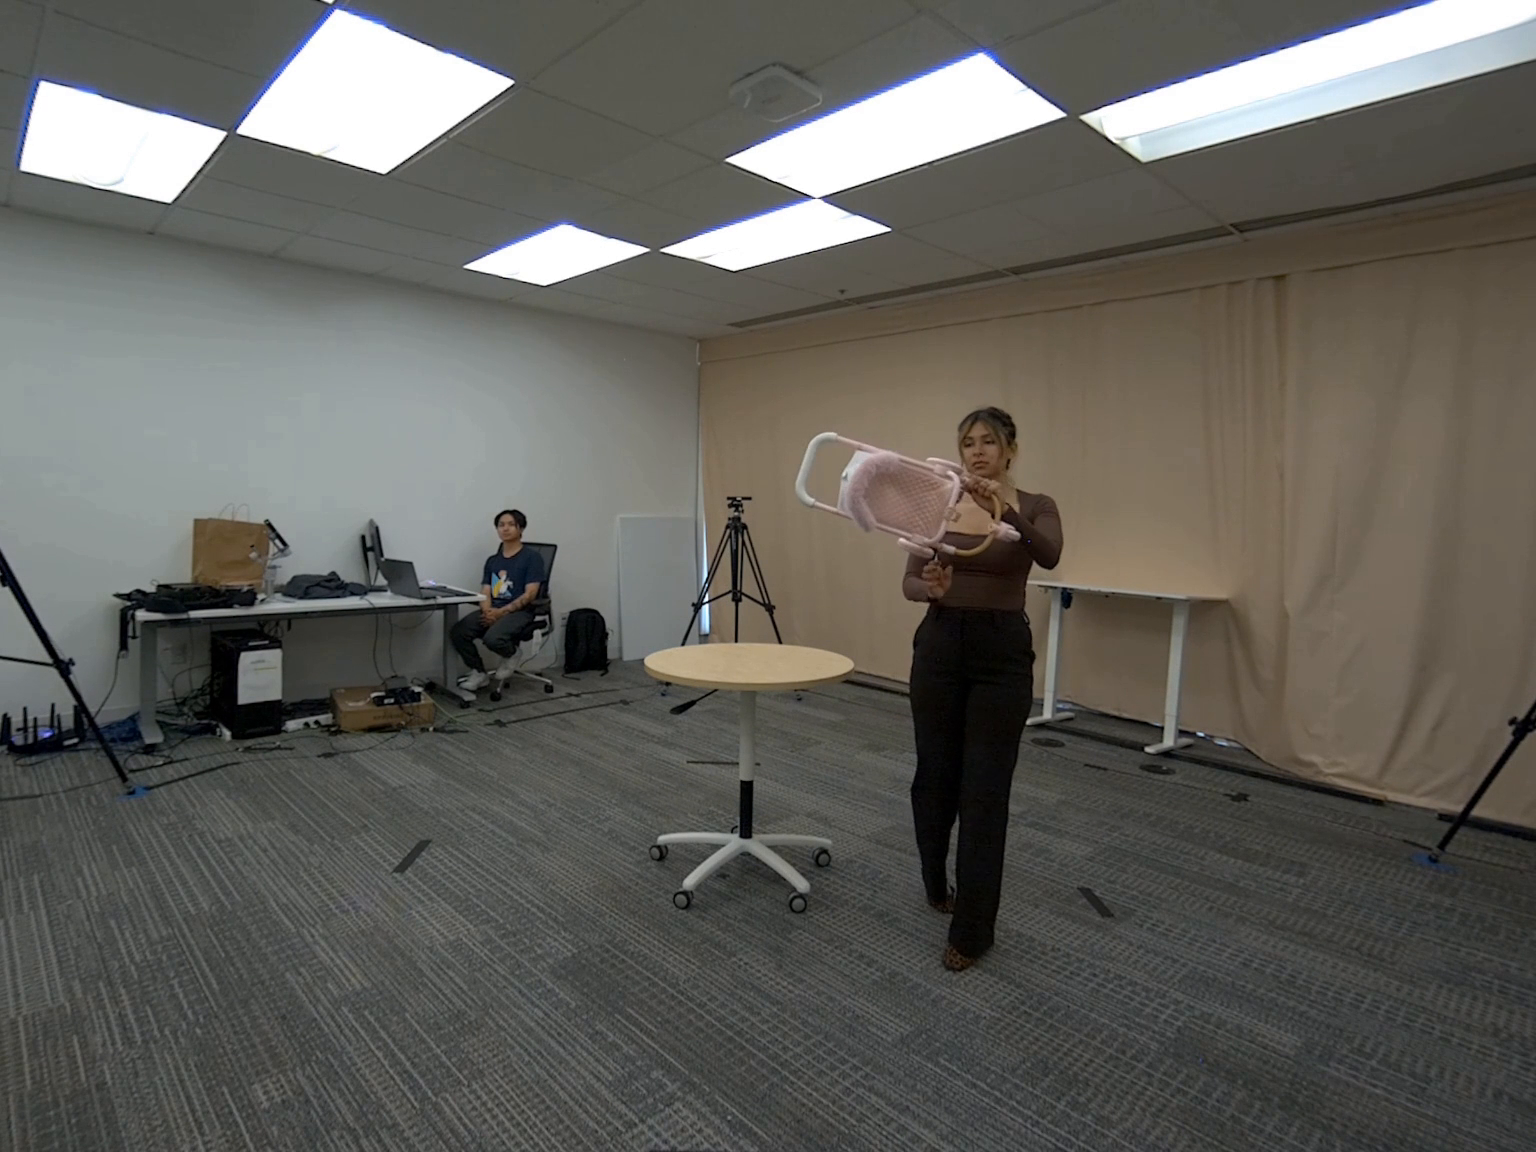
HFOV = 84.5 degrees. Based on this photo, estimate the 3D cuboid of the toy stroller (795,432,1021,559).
[{"bbox_3d":[0.385,-0.199,2.266,0.522,0.280,0.351,17,11,-29],"label":"toy stroller"}]
